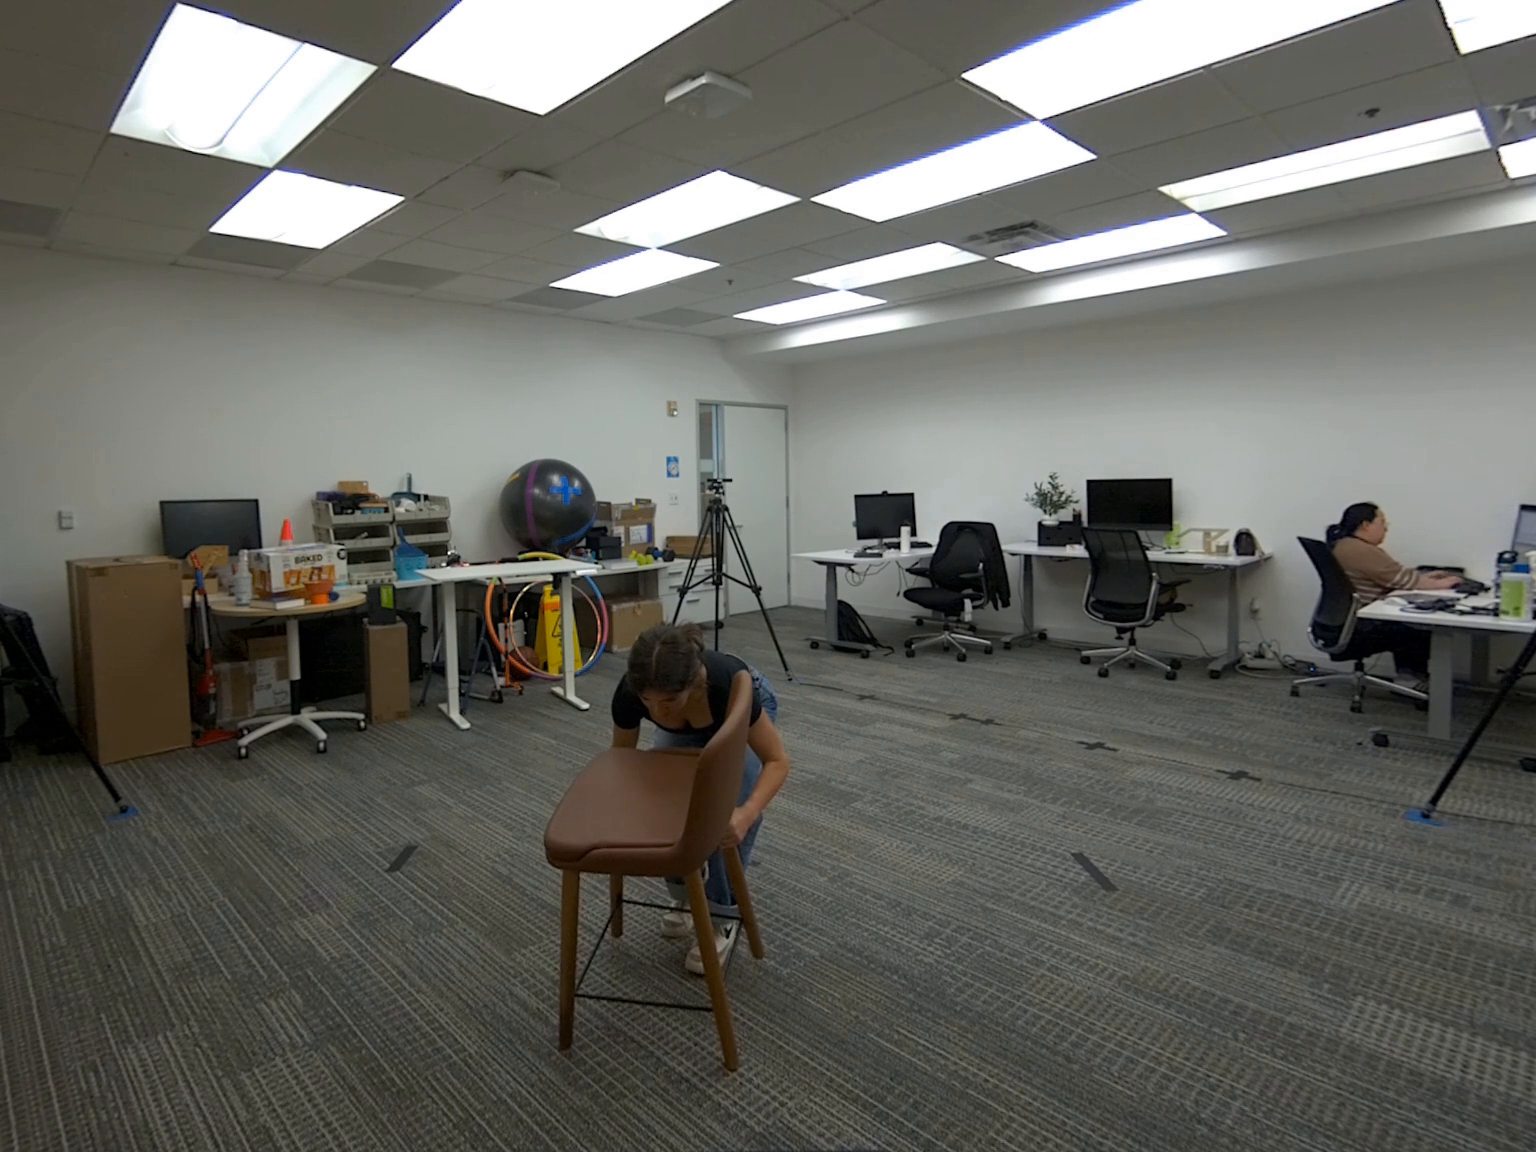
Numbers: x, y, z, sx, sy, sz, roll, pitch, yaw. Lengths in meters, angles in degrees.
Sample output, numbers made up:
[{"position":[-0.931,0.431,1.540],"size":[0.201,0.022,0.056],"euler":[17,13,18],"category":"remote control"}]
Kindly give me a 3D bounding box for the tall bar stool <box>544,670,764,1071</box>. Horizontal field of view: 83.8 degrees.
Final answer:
[{"position":[-0.284,0.706,2.127],"size":[0.473,0.876,0.458],"euler":[1,17,11],"category":"tall bar stool"}]
